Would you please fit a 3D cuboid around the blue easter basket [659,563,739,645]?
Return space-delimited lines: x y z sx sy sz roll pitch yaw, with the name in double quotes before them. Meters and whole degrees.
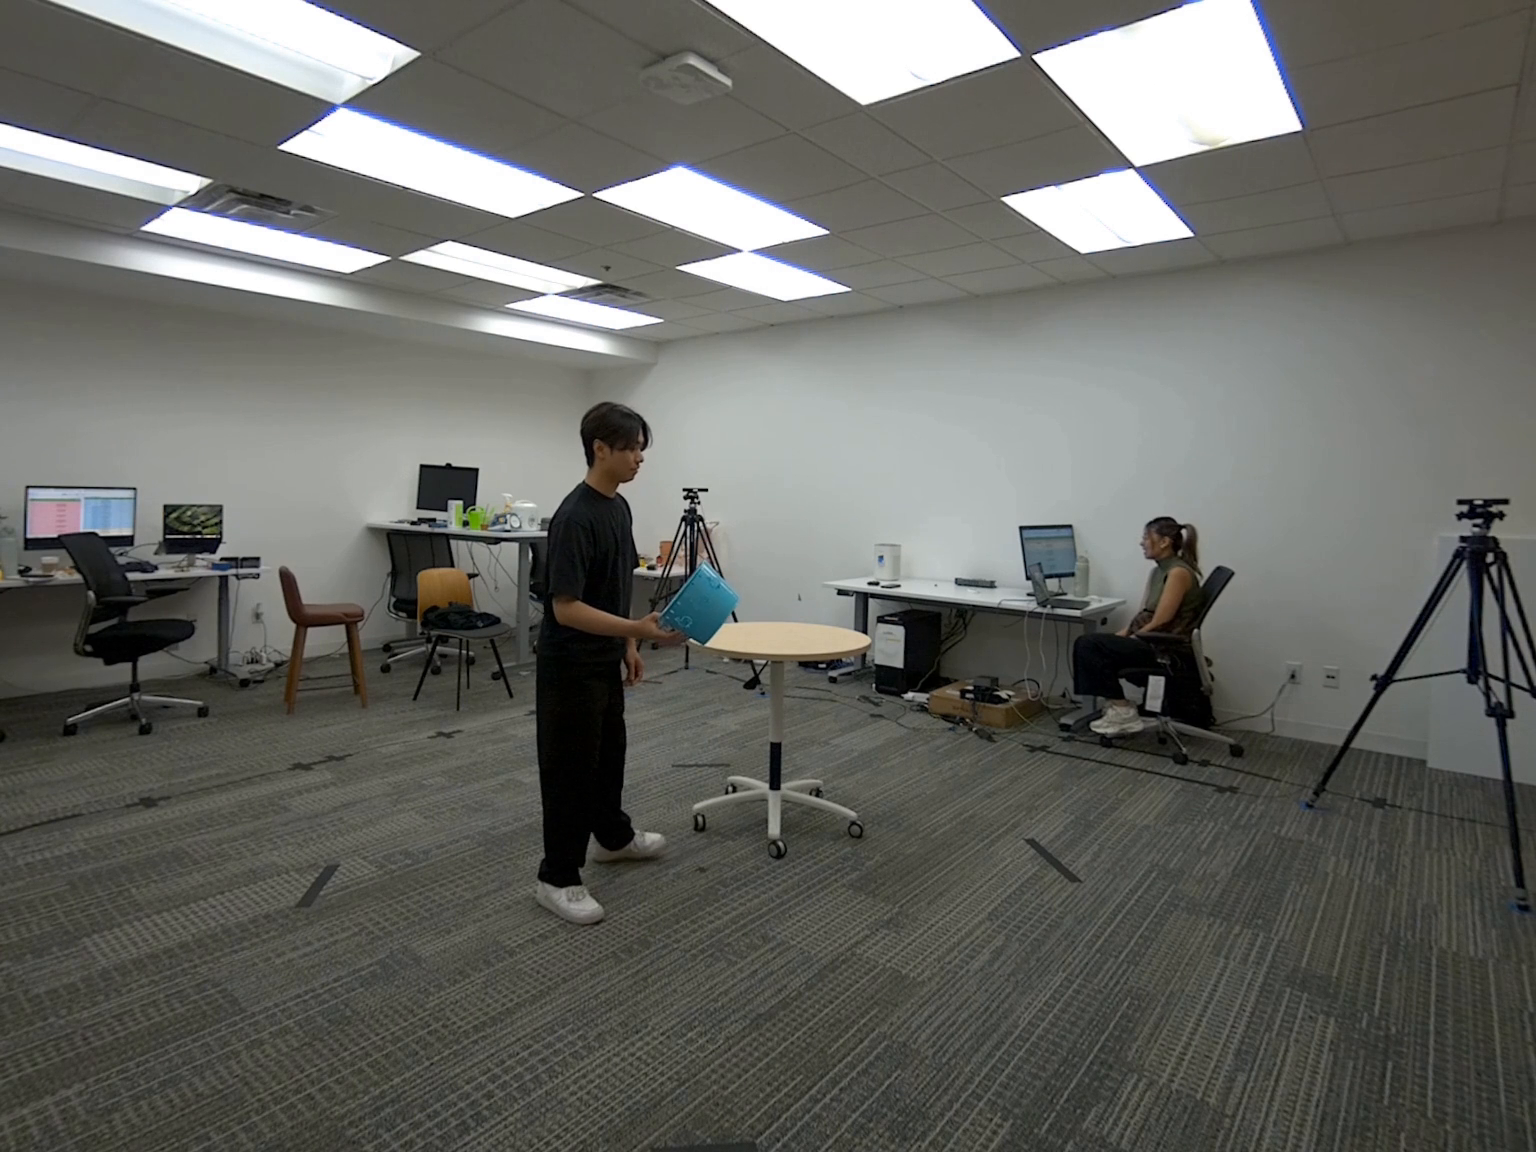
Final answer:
"blue easter basket" -0.198 0.087 2.503 0.155 0.243 0.245 37 2 -6
